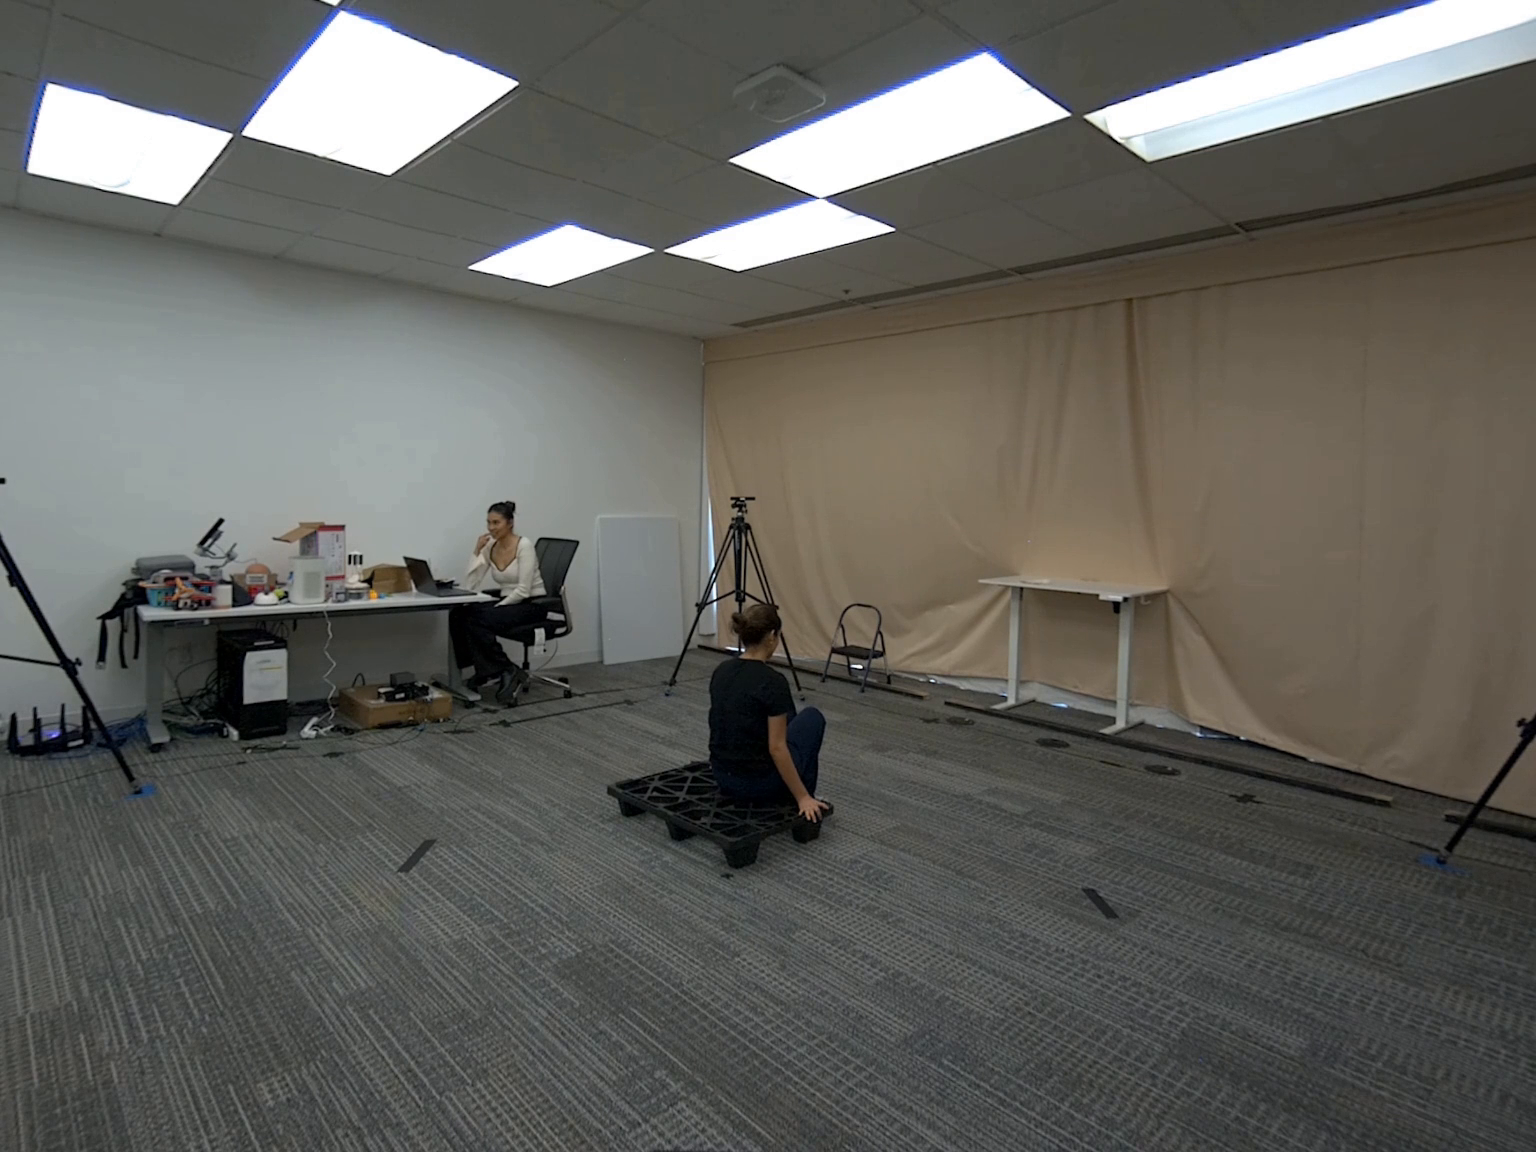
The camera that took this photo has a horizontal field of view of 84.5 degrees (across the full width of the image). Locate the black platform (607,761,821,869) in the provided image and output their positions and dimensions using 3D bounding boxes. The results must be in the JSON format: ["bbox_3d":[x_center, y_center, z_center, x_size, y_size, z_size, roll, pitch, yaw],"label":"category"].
[{"bbox_3d":[-0.224,0.997,3.553,0.591,0.143,0.826,-5,7,-45],"label":"black platform"}]
